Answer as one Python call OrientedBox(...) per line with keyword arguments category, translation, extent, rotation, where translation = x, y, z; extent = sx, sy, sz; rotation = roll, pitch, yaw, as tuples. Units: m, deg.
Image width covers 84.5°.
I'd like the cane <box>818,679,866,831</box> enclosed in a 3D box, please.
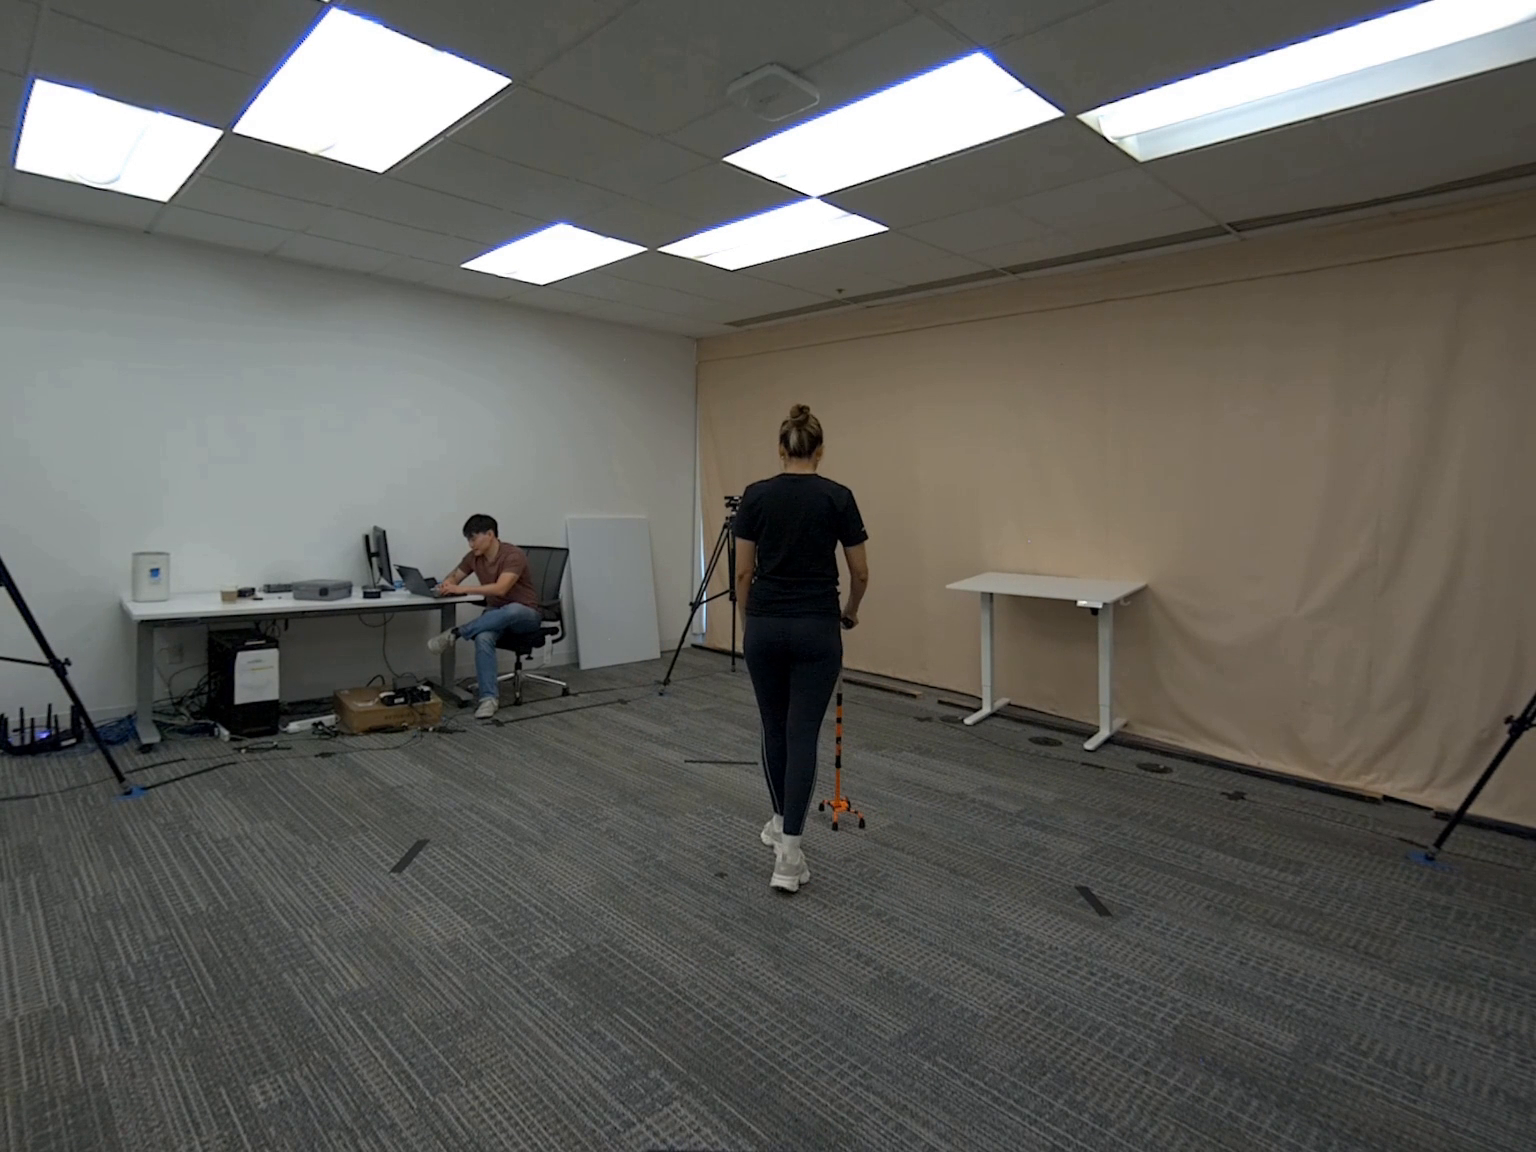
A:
OrientedBox(category="cane", translation=(0.315, 0.611, 3.580), extent=(0.150, 0.902, 0.210), rotation=(-2, 9, -15))
